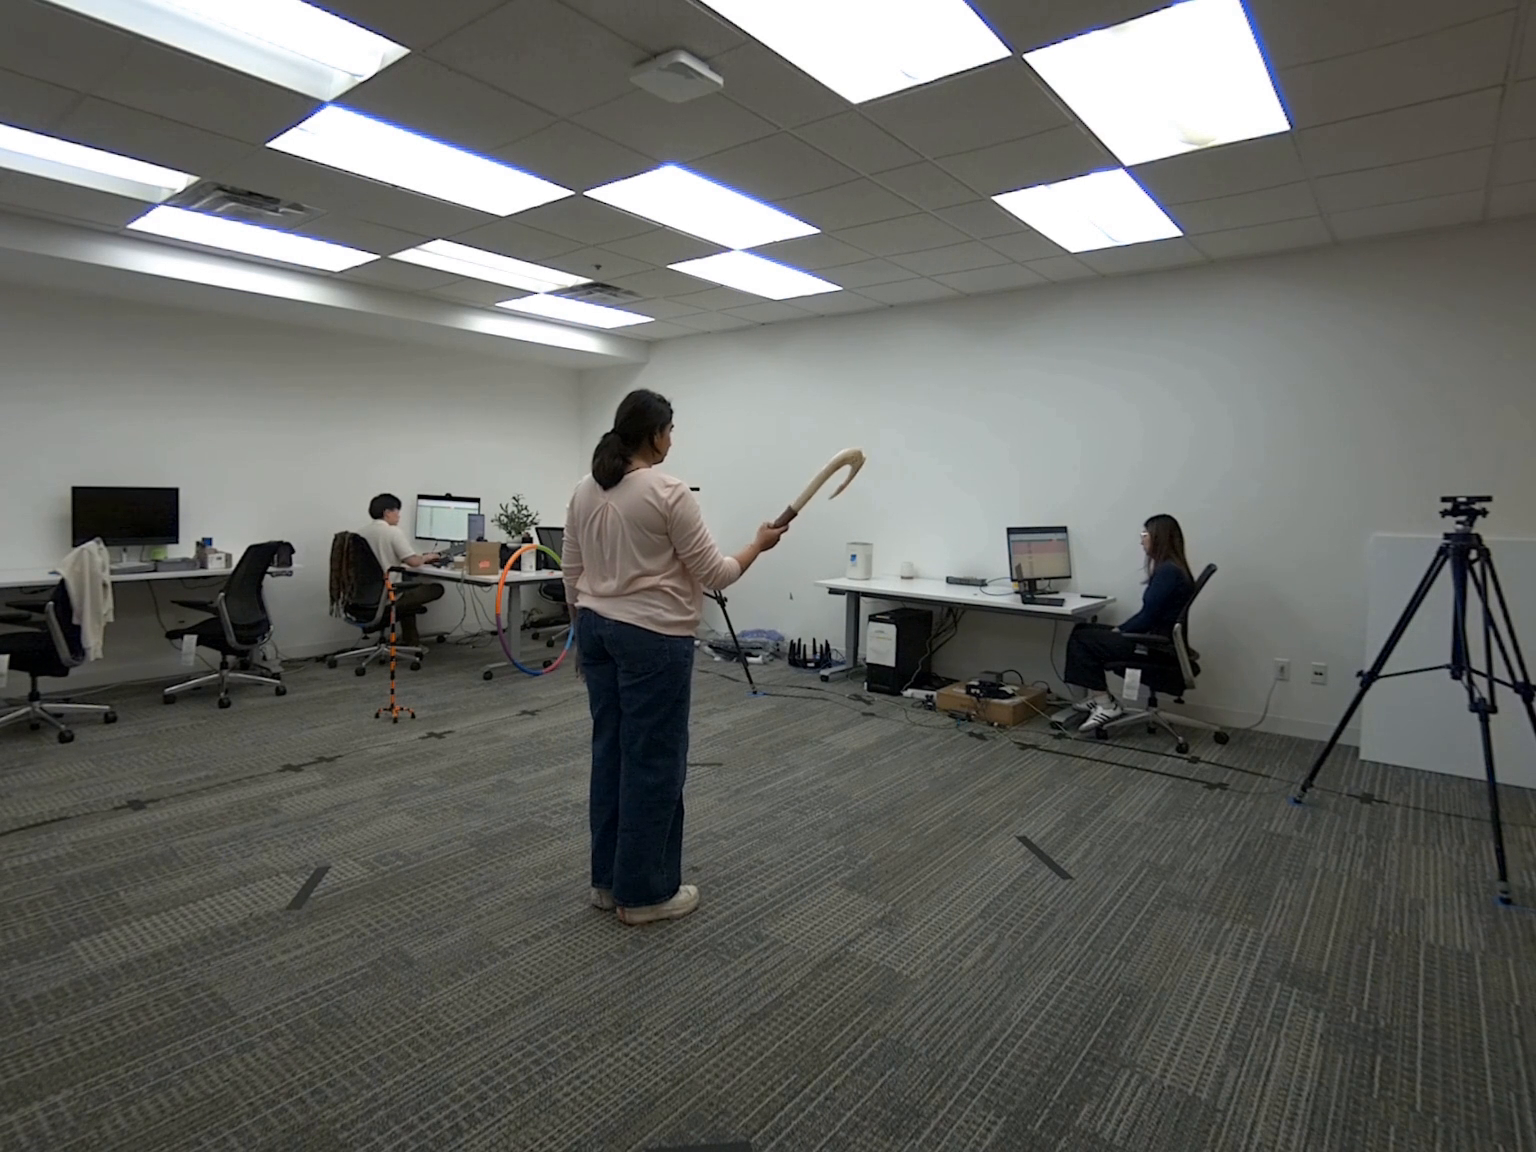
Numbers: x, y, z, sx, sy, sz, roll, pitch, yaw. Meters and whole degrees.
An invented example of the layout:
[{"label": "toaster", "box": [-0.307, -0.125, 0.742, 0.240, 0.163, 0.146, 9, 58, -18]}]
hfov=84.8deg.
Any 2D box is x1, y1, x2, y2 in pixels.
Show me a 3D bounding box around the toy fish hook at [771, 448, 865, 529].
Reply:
[{"label": "toy fish hook", "box": [0.129, -0.254, 2.969, 0.050, 0.507, 0.216, 50, 8, 30]}]
